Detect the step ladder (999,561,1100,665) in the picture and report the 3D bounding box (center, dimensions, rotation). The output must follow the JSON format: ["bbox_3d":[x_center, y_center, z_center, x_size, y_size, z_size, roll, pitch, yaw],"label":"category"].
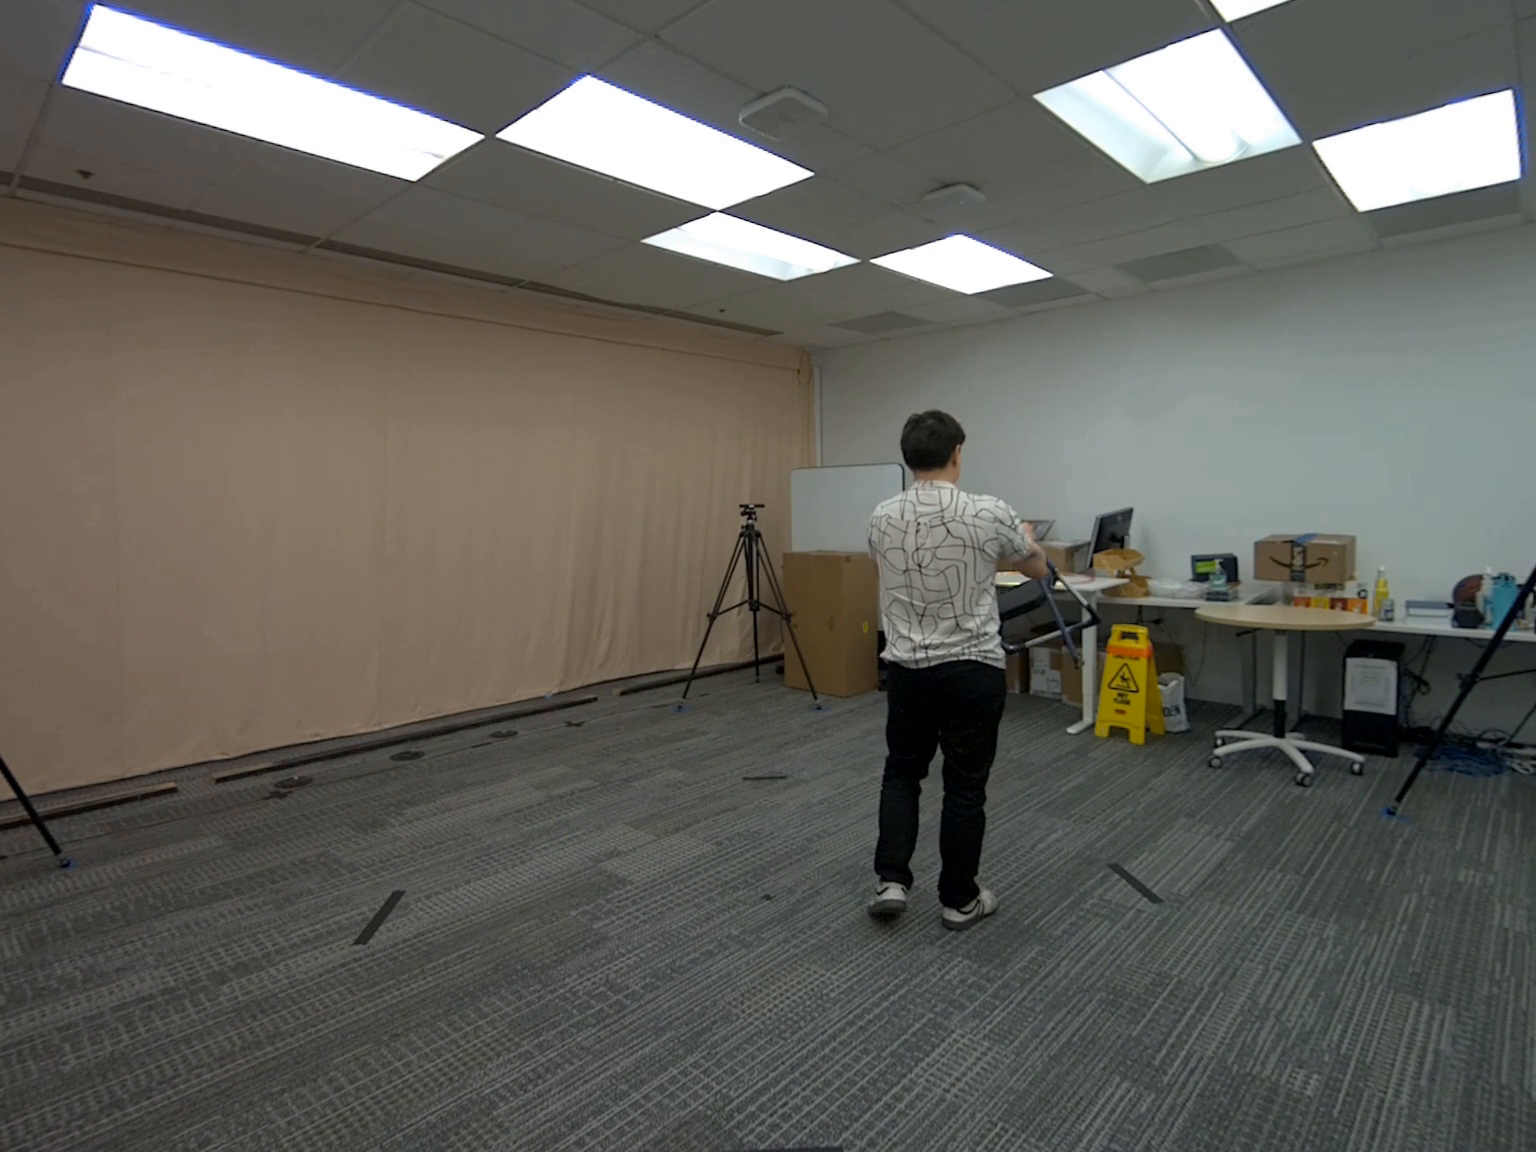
[{"bbox_3d":[0.854,0.057,3.141,0.438,0.605,0.344,-31,3,42],"label":"step ladder"}]
